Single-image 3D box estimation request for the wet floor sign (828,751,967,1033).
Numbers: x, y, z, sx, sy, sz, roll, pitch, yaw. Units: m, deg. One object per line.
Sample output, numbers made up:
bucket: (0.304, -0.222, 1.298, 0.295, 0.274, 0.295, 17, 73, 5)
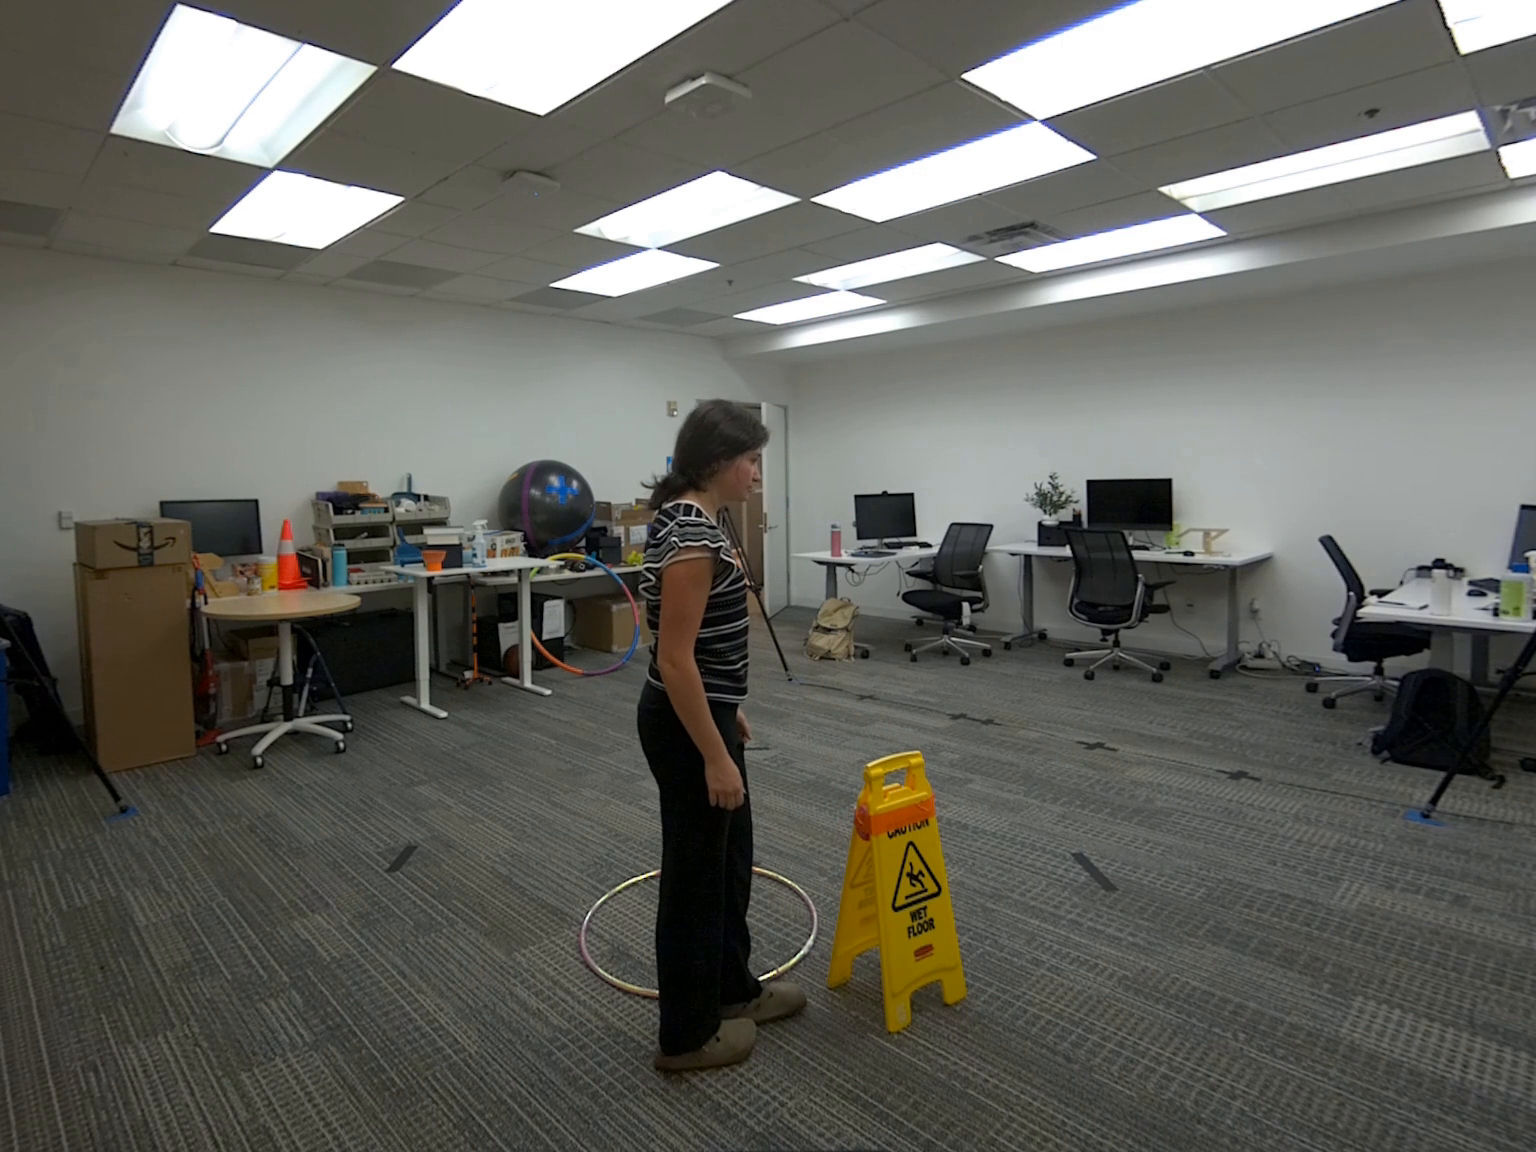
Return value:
wet floor sign: (0.346, 0.806, 2.296, 0.275, 0.644, 0.298, -3, 4, -34)
